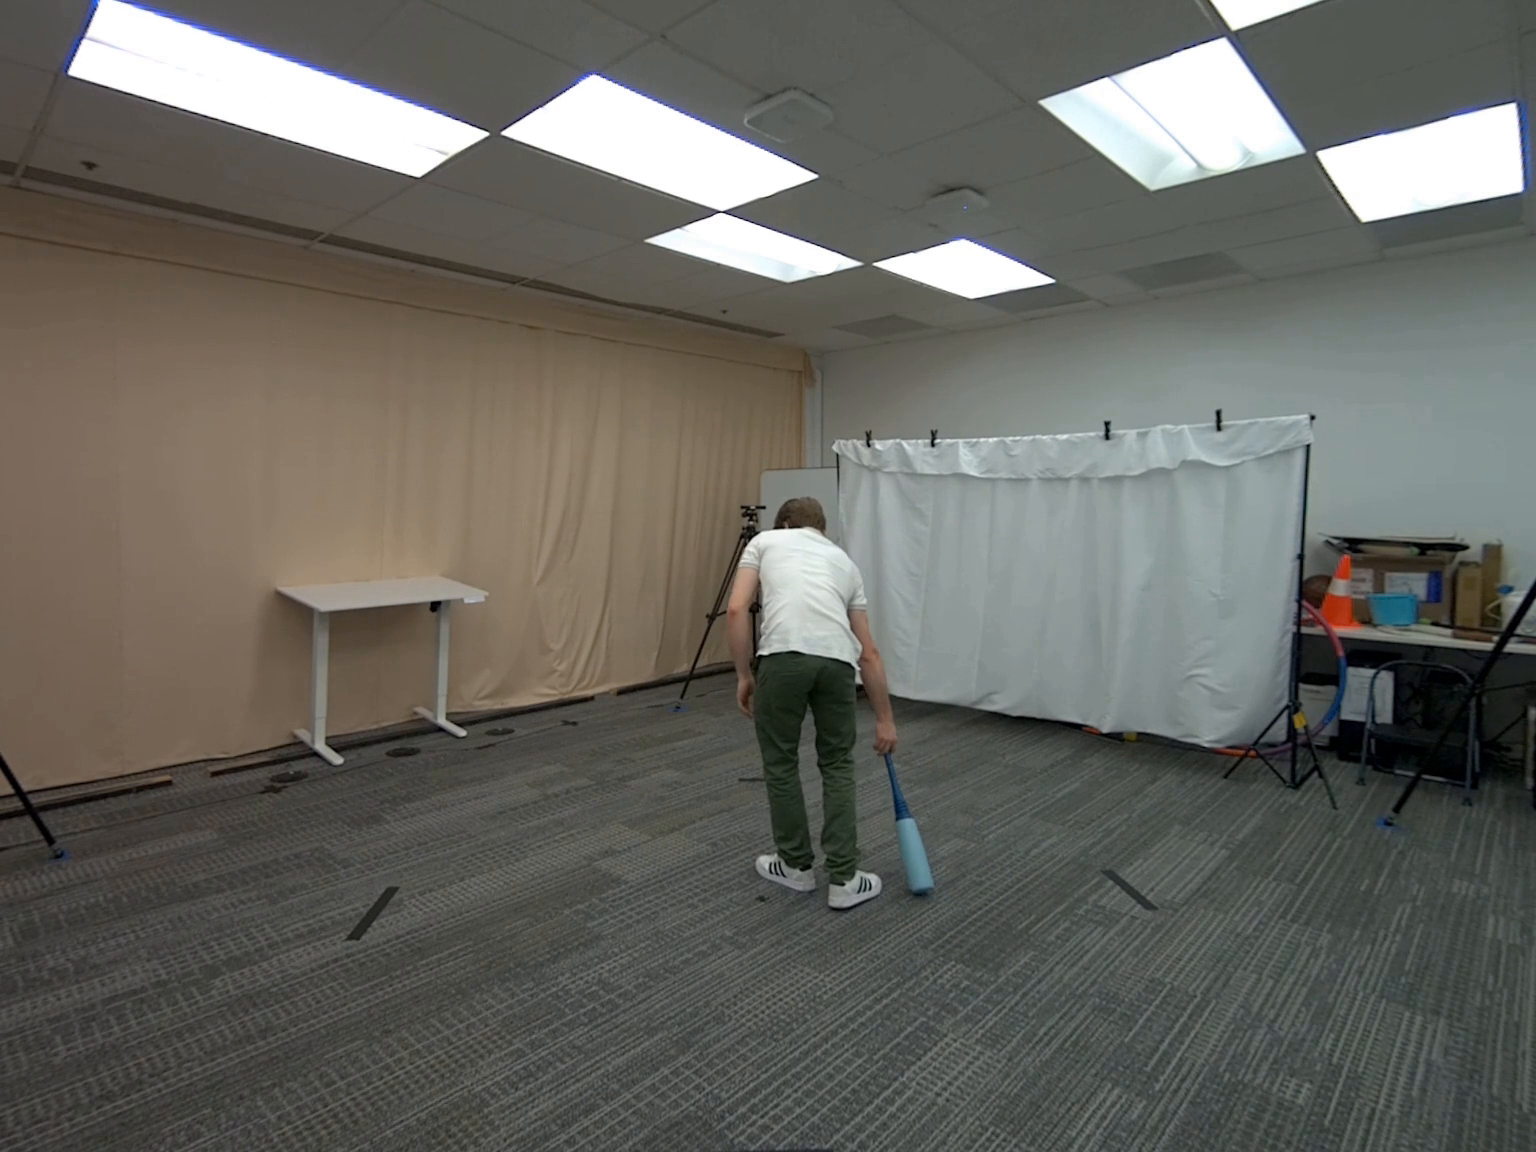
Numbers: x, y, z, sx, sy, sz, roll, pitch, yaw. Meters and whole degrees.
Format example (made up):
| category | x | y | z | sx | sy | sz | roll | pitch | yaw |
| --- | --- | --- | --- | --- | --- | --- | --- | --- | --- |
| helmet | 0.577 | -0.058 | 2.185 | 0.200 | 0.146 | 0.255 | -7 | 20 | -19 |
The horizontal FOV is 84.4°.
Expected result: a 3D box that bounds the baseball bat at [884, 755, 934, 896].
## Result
| category | x | y | z | sx | sy | sz | roll | pitch | yaw |
| --- | --- | --- | --- | --- | --- | --- | --- | --- | --- |
| baseball bat | 0.507 | 0.895 | 3.127 | 0.088 | 0.555 | 0.087 | -8 | -31 | -6 |
